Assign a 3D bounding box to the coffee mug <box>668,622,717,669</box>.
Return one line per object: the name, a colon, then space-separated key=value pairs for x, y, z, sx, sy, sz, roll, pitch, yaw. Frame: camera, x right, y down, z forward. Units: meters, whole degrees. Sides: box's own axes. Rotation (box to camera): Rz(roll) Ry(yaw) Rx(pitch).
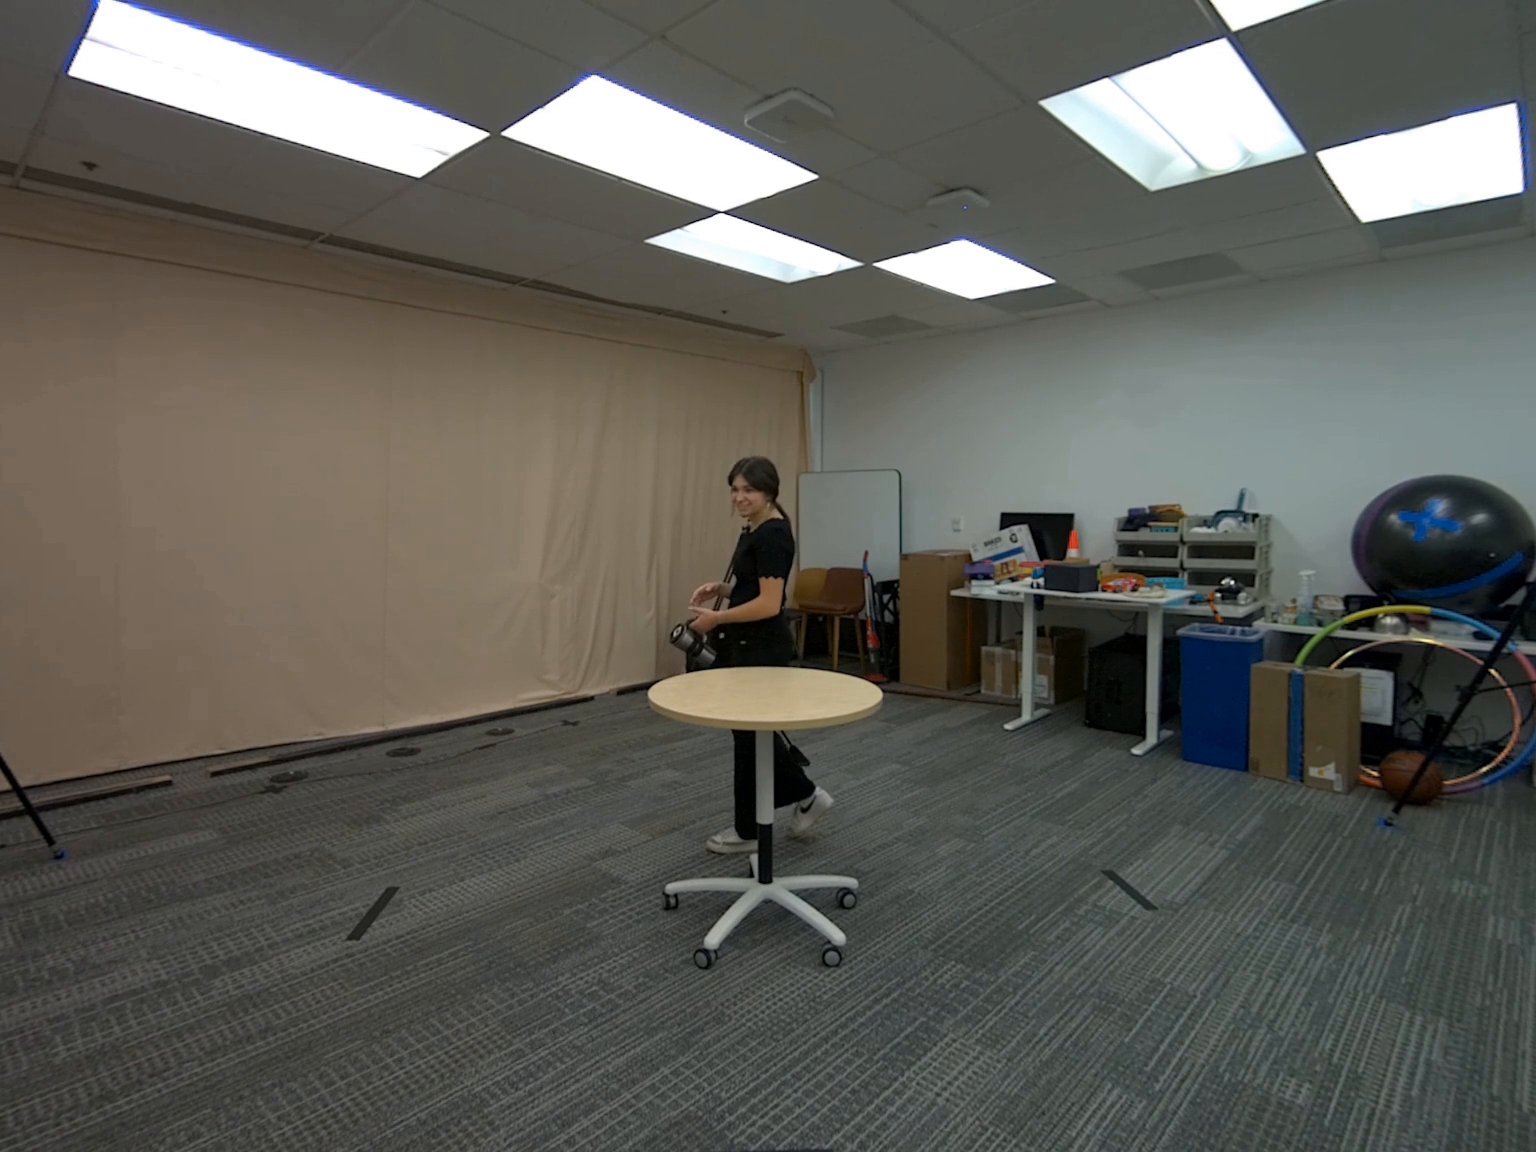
coffee mug: x=-0.266 y=0.281 z=3.320 sx=0.124 sy=0.199 sz=0.088 roll=-37 pitch=20 yaw=40
